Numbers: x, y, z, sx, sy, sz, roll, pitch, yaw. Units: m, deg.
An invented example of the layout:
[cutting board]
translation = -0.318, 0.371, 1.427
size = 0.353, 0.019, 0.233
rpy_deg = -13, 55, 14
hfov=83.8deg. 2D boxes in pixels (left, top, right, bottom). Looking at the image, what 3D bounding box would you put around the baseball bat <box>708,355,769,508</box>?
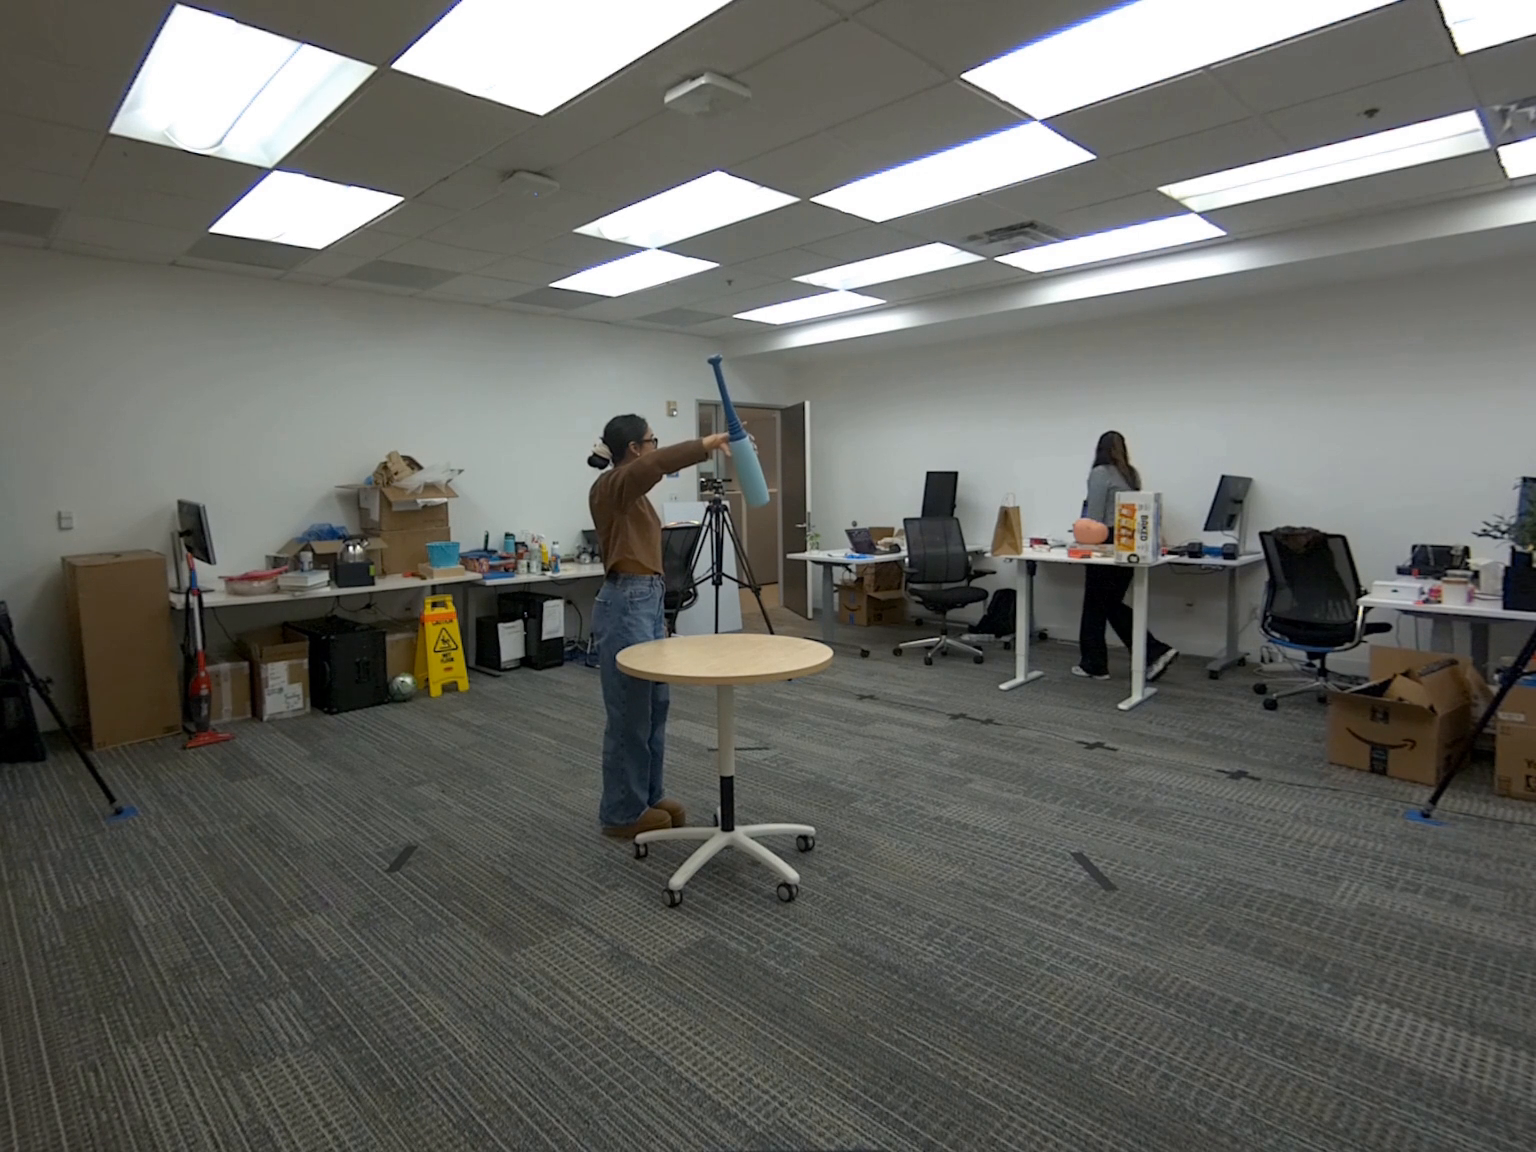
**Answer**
[baseball bat]
translation = -0.105, -0.489, 2.925
size = 0.089, 0.531, 0.091
rpy_deg = -15, 20, 4
